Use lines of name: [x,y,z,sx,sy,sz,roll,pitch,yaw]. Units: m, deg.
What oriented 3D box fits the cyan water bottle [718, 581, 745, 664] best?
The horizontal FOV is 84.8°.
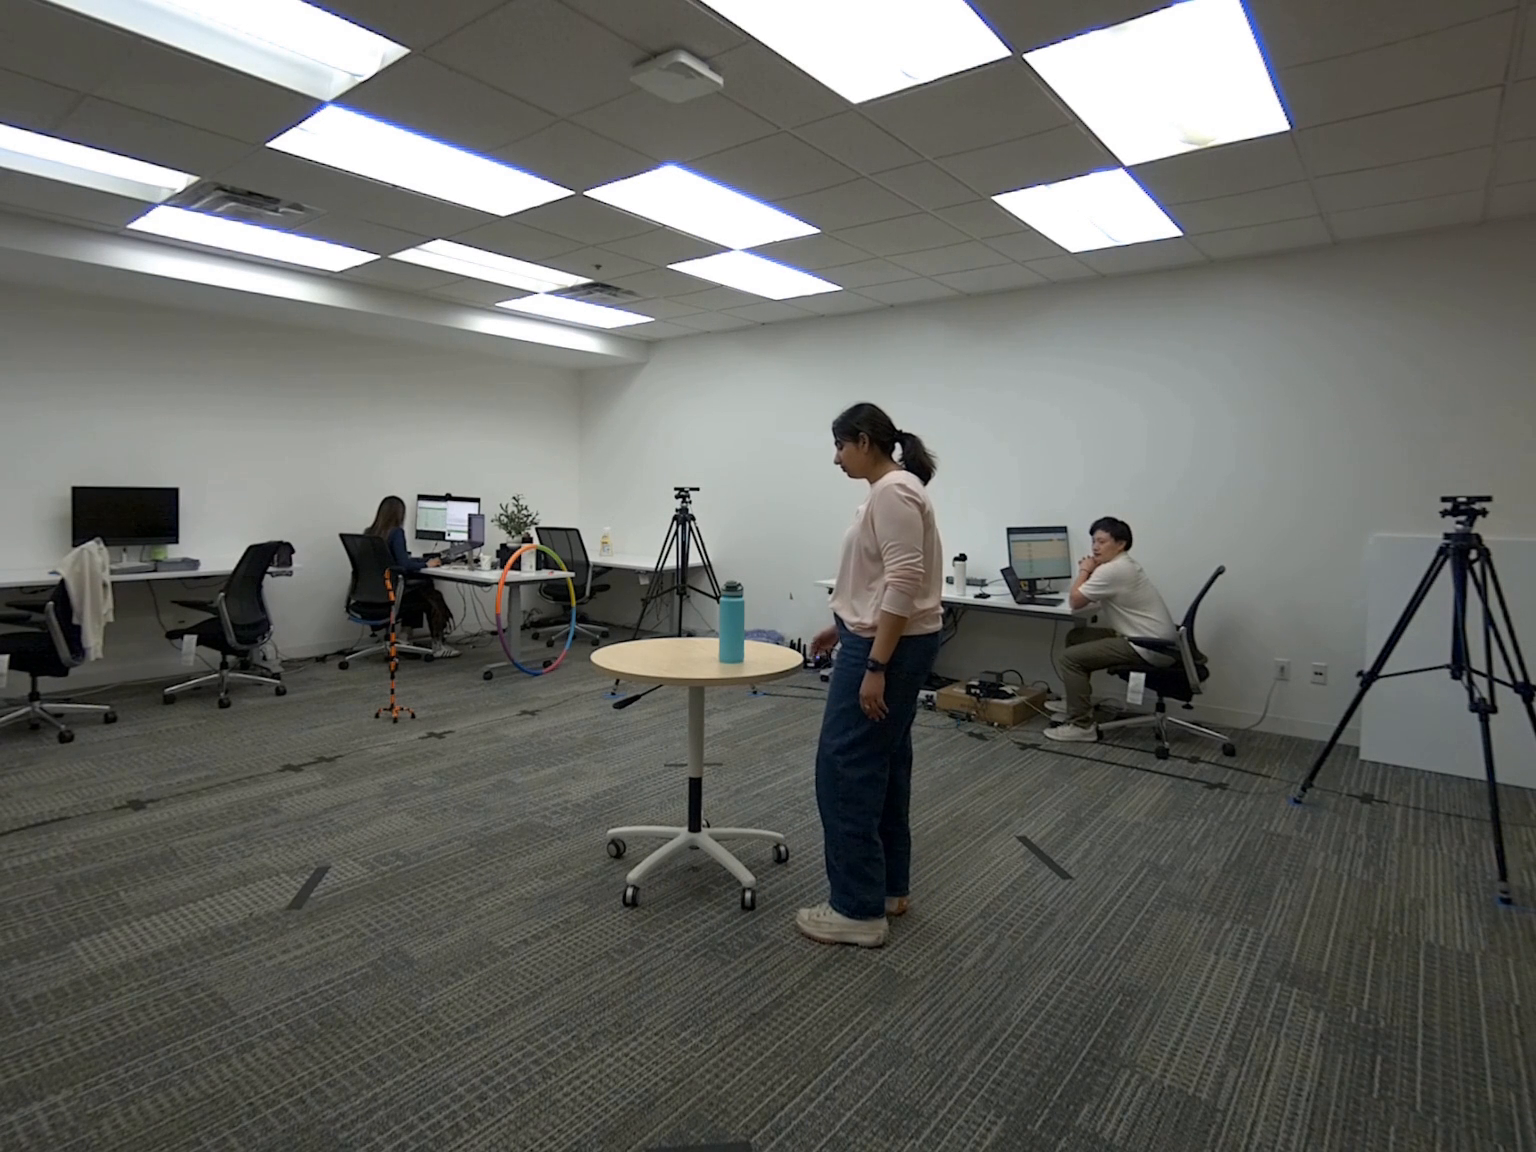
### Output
cyan water bottle: [-0.133,0.155,2.983,0.092,0.283,0.092,1,2,-2]
